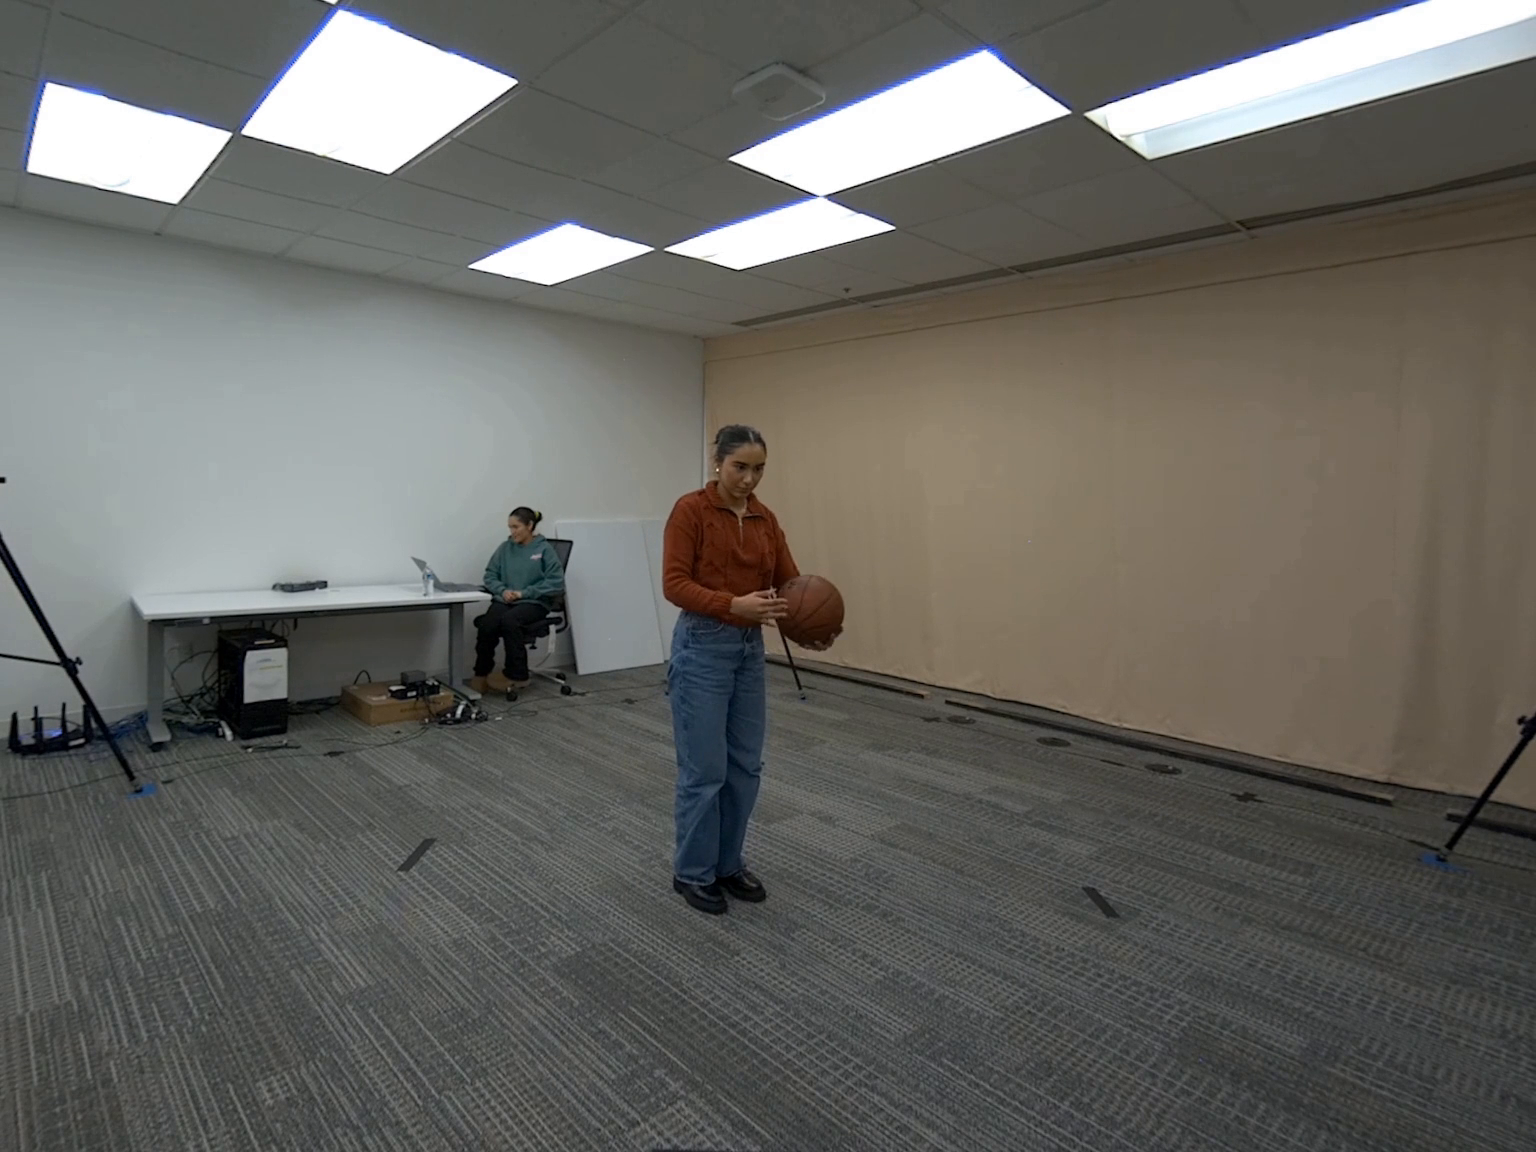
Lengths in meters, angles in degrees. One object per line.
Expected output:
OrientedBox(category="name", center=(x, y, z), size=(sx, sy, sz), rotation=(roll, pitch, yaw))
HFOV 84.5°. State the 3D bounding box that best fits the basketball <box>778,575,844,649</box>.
OrientedBox(category="basketball", center=(0.098, 0.114, 2.816), size=(0.236, 0.235, 0.237), rotation=(1, 4, -1))
